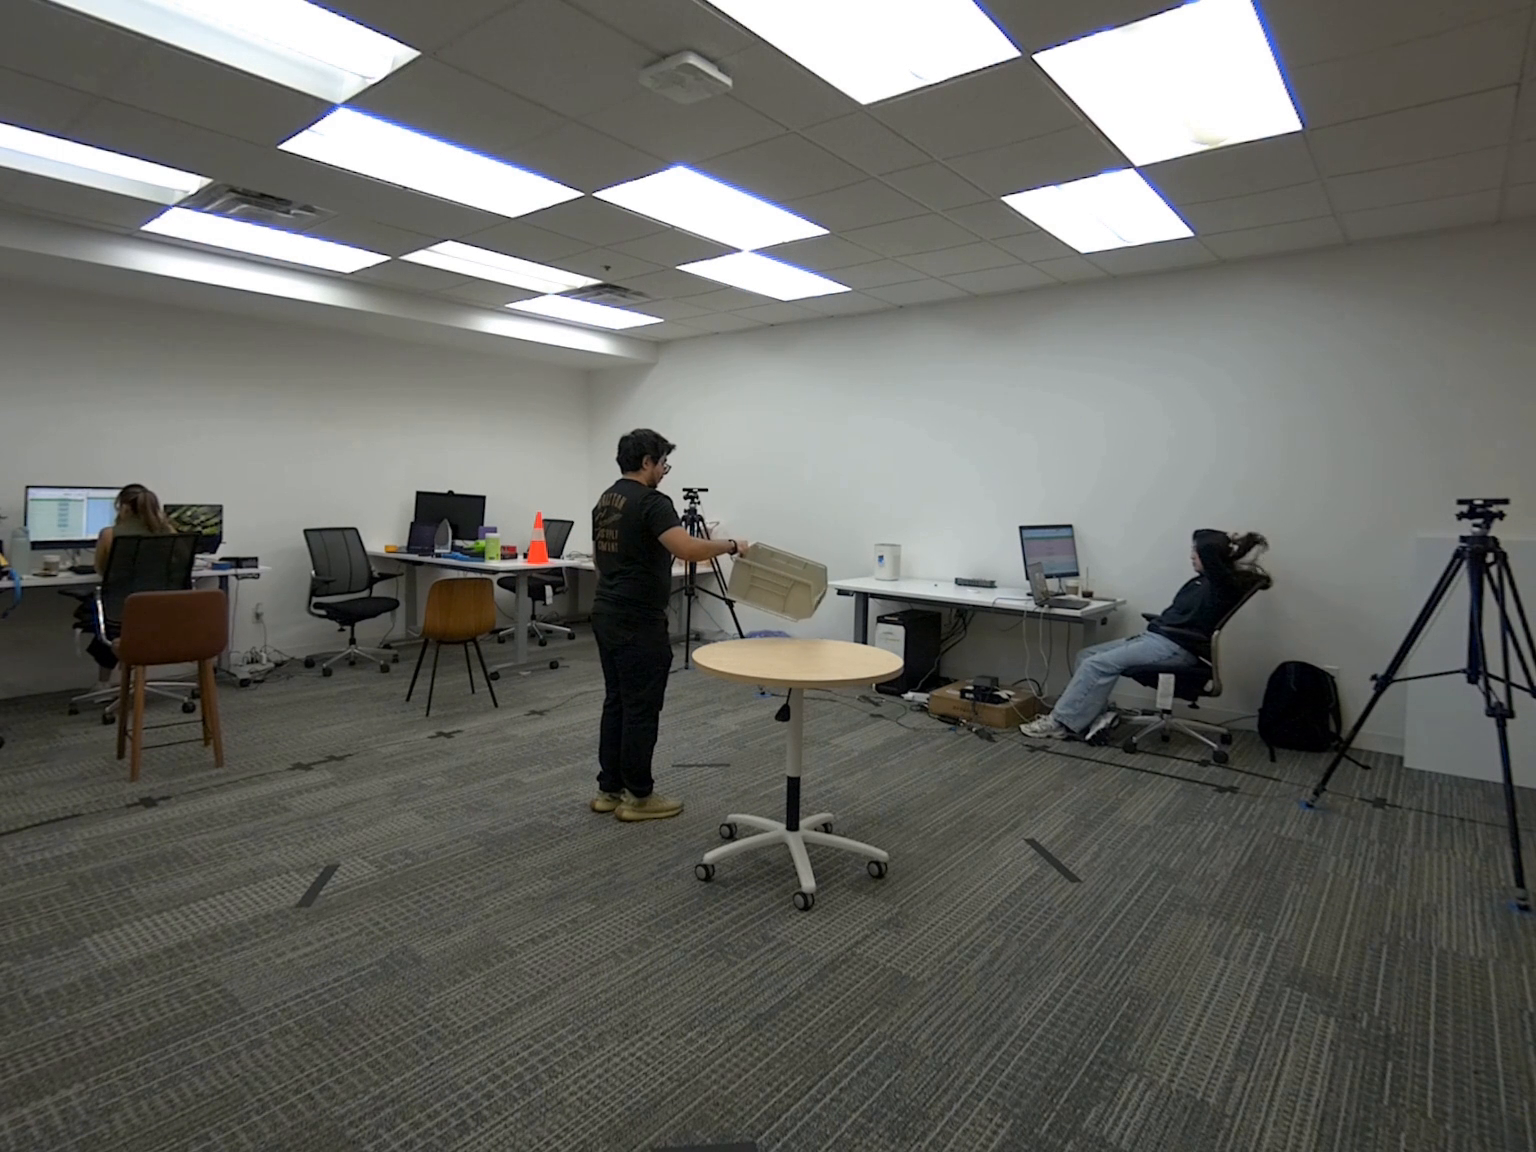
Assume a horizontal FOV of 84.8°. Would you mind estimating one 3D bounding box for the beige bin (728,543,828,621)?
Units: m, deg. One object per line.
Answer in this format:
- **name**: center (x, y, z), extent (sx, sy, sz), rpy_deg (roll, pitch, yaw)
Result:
- **beige bin**: center (0.040, 0.024, 3.646), extent (0.382, 0.187, 0.420), rpy_deg (17, 13, 8)
